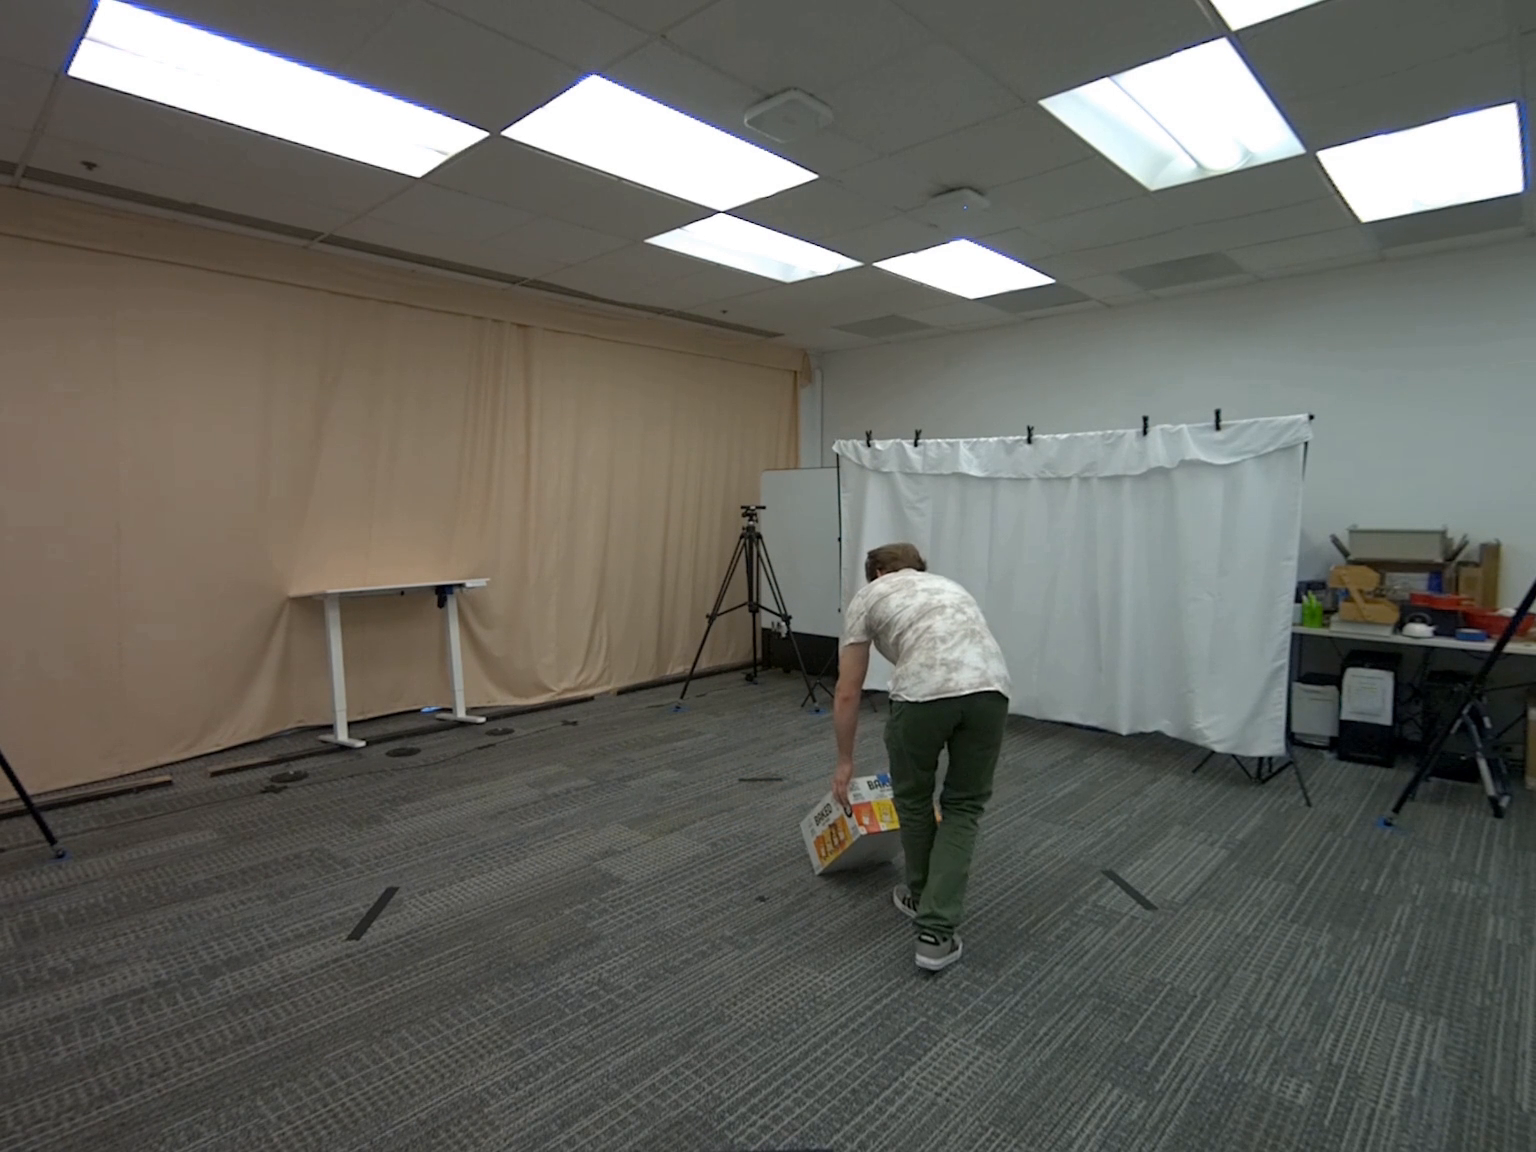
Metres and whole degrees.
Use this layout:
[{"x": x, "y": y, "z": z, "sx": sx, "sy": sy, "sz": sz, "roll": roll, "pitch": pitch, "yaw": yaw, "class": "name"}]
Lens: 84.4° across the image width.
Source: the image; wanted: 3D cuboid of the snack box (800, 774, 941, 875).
[{"x": 0.377, "y": 0.922, "z": 3.142, "sx": 0.332, "sy": 0.211, "sz": 0.404, "roll": -1, "pitch": -37, "yaw": -24, "class": "snack box"}]
